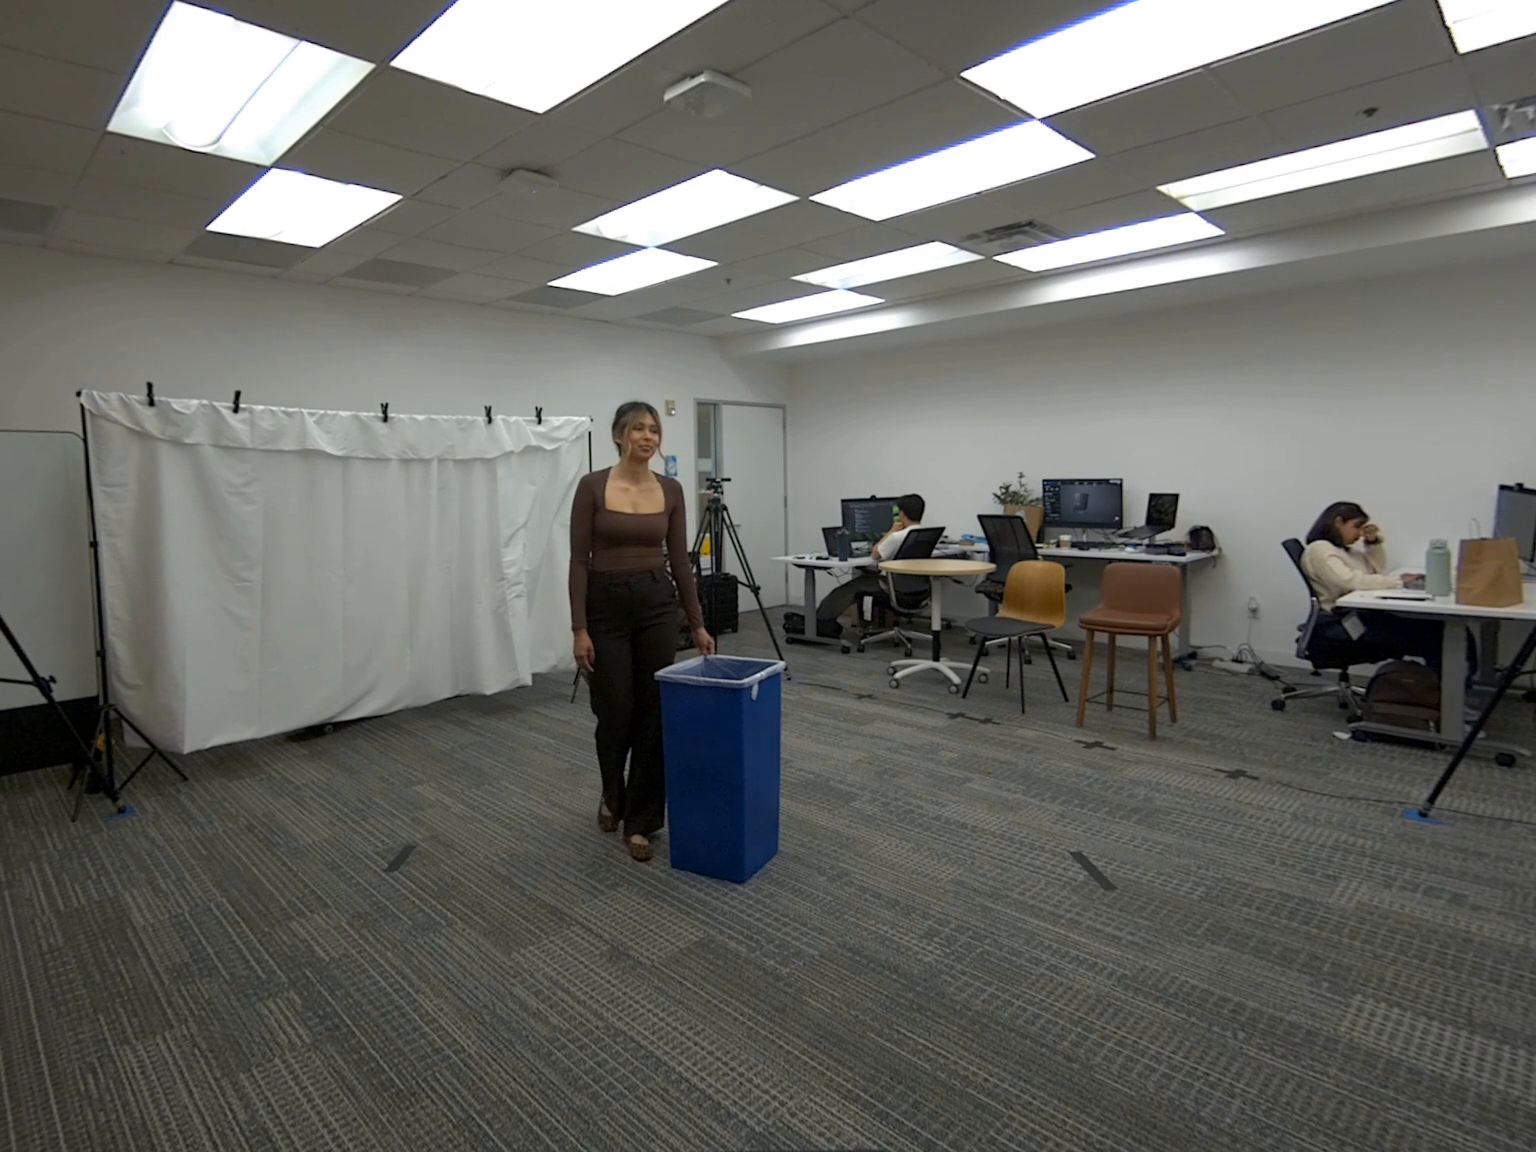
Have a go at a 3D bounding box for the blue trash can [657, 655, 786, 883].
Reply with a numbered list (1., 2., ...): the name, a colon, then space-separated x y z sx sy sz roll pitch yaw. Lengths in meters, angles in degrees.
1. blue trash can: -0.164 0.684 3.115 0.383 0.711 0.370 2 4 27
